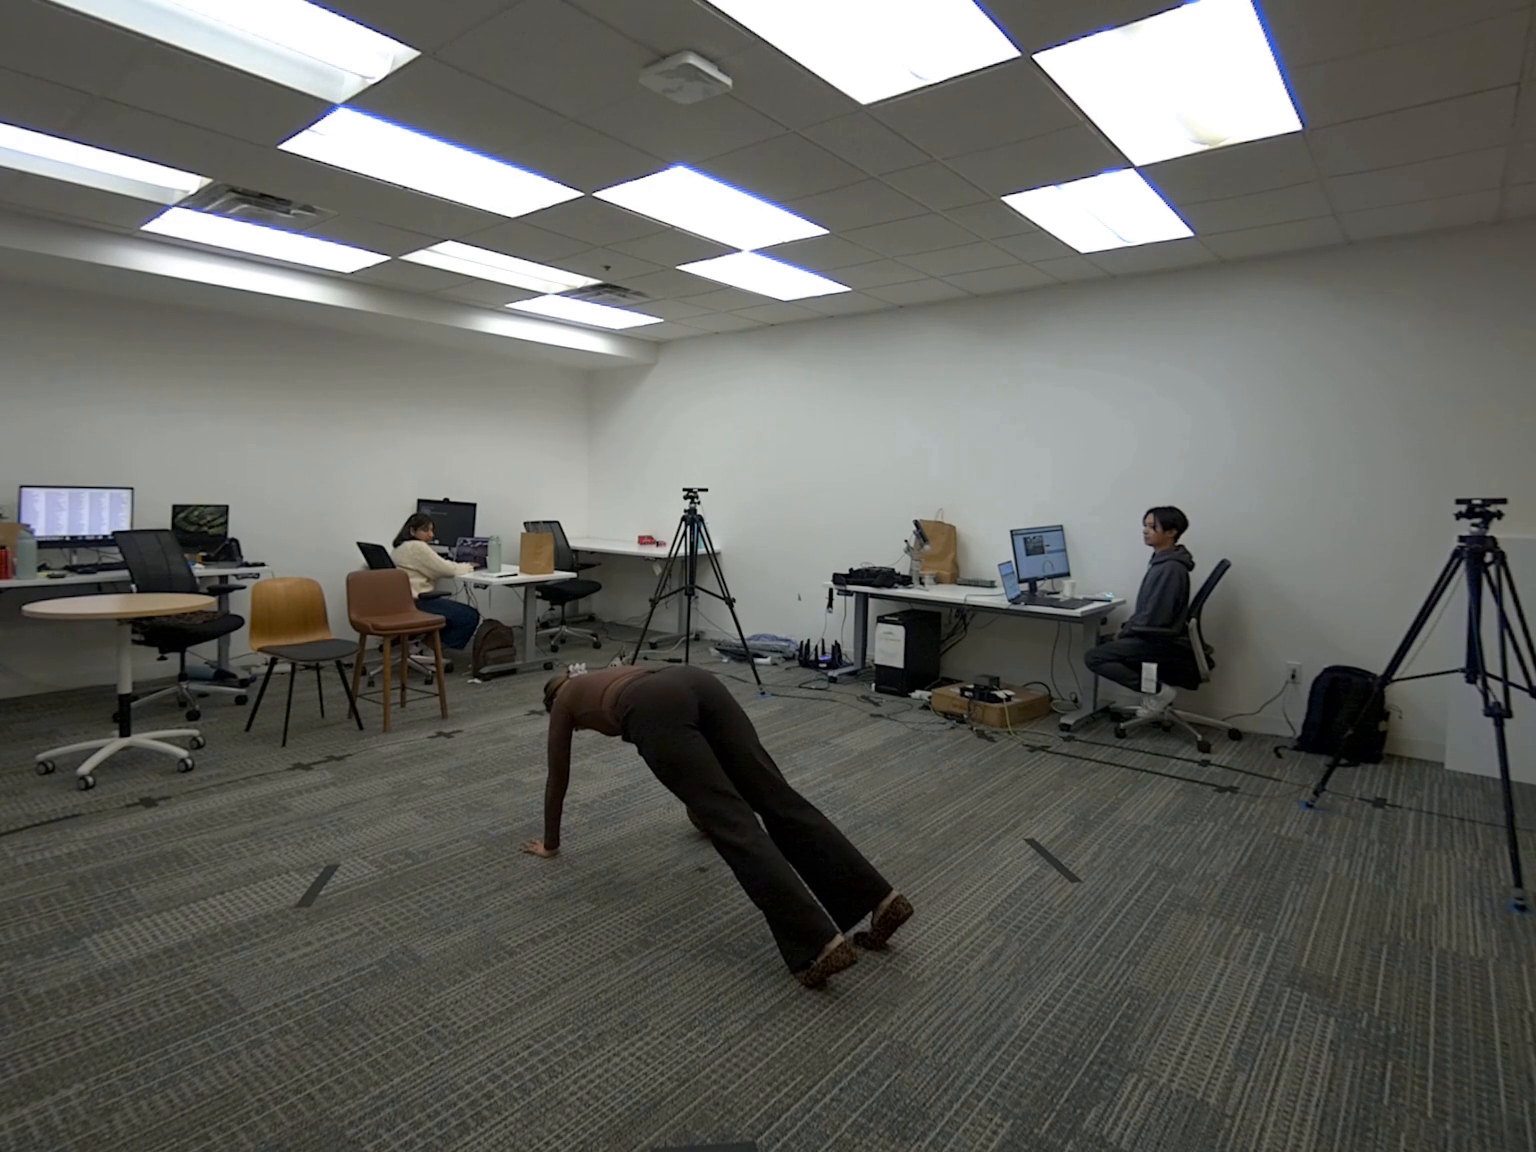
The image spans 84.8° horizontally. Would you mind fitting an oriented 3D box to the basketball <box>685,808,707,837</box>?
[{"bbox_3d":[-0.220,0.914,3.437,0.236,0.235,0.237,1,4,-2],"label":"basketball"}]
